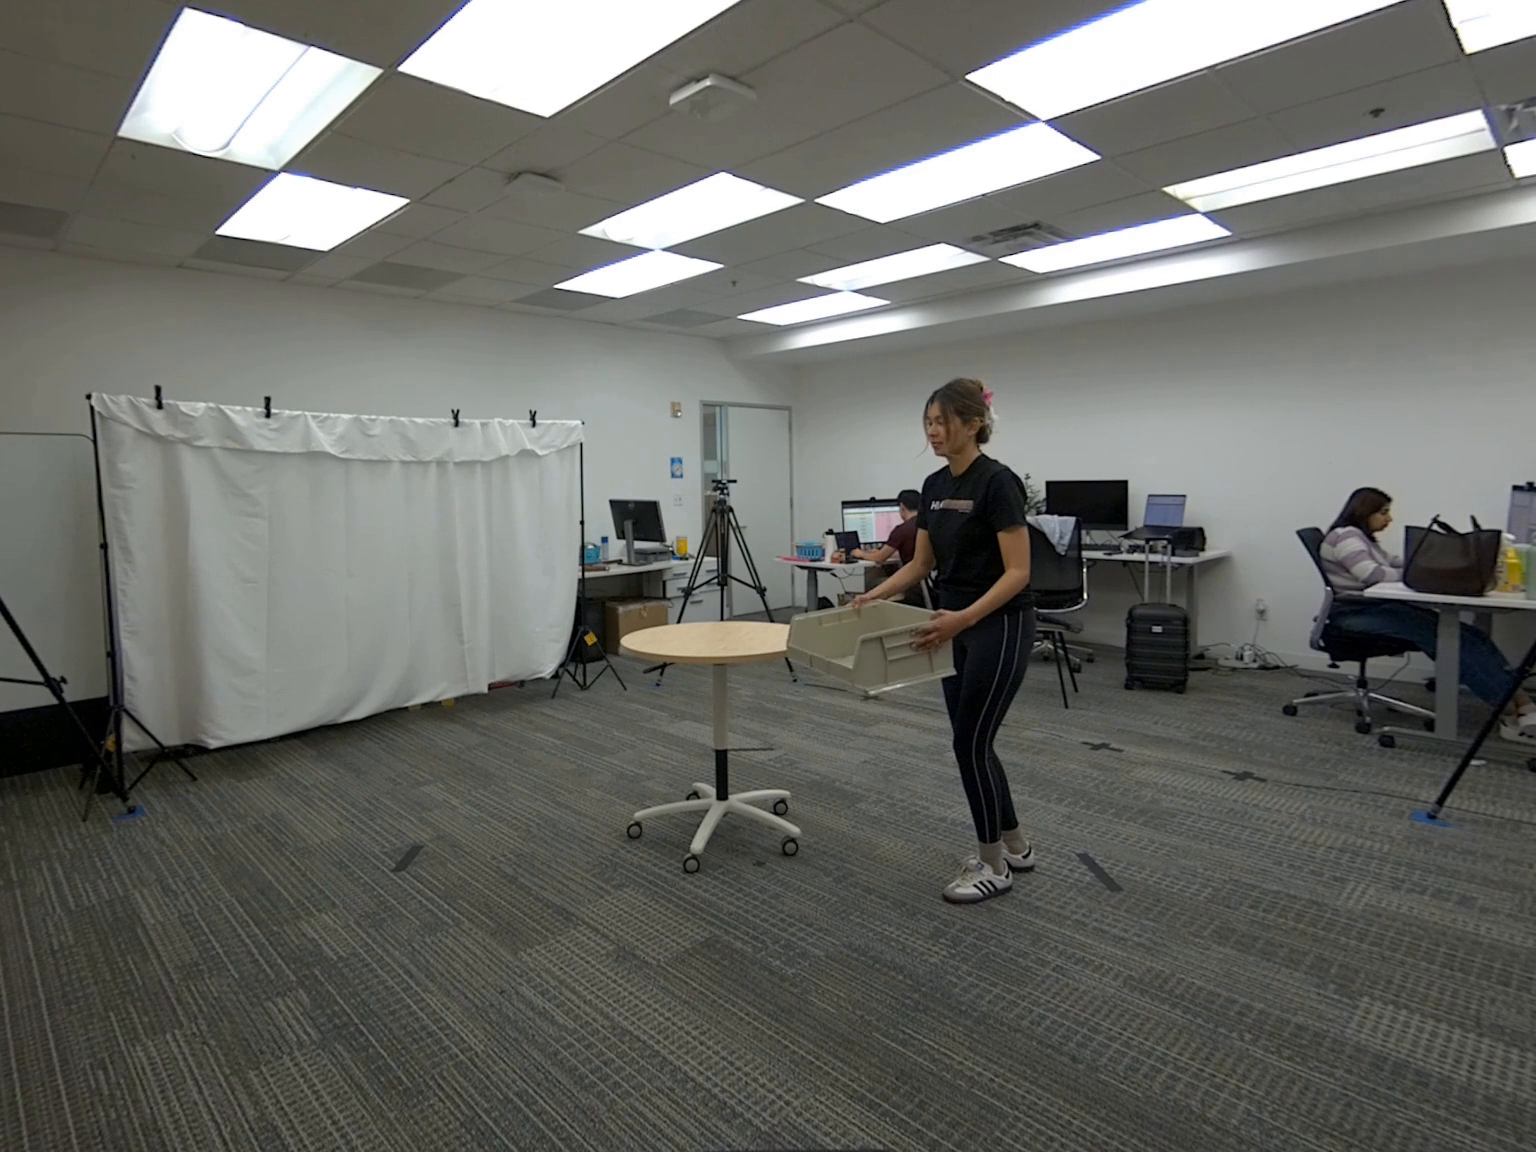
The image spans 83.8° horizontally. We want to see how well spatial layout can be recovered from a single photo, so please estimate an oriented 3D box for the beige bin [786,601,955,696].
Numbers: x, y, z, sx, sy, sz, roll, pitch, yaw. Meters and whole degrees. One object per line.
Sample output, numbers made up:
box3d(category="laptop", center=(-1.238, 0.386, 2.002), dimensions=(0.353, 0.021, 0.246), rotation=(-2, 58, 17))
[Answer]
box3d(category="beige bin", center=(0.325, 0.226, 2.702), dimensions=(0.370, 0.188, 0.432), rotation=(-8, 8, -23))
